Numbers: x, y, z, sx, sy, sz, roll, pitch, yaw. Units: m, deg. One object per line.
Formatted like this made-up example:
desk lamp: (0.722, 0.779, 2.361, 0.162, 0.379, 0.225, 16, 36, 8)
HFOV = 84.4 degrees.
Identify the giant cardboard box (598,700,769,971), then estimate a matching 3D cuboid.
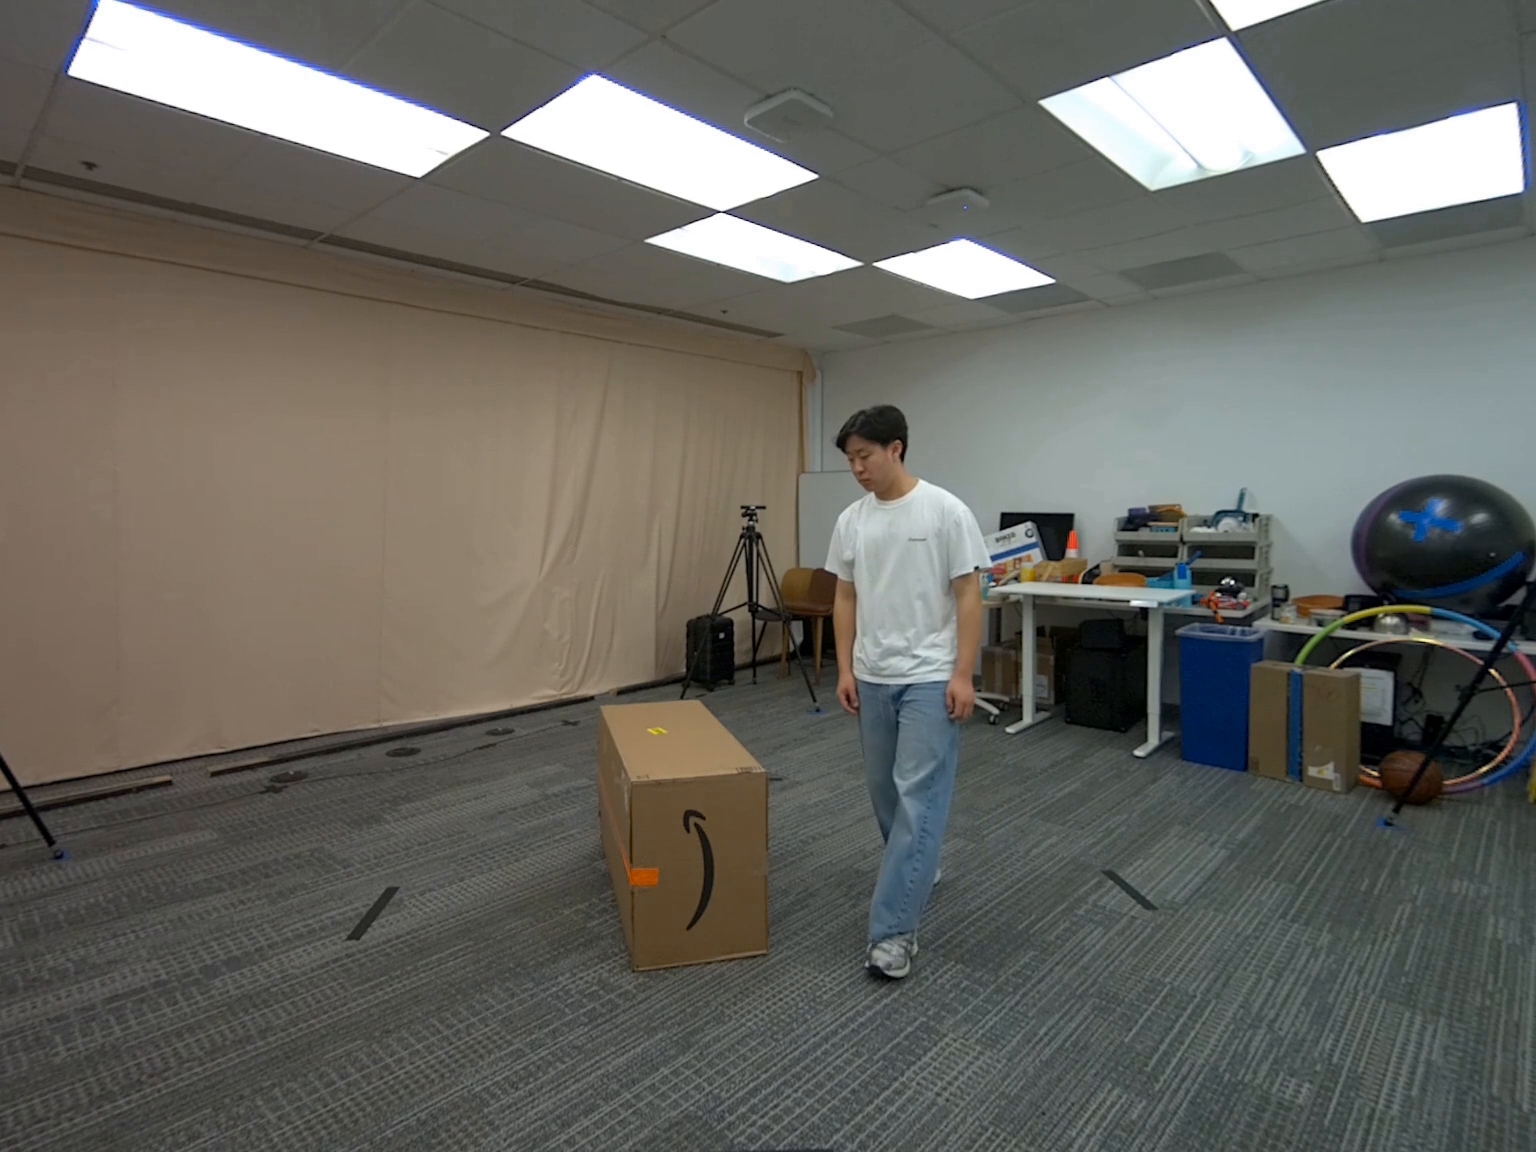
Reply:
giant cardboard box: (-0.349, 0.852, 3.041, 0.420, 0.576, 1.044, -1, 4, -16)
